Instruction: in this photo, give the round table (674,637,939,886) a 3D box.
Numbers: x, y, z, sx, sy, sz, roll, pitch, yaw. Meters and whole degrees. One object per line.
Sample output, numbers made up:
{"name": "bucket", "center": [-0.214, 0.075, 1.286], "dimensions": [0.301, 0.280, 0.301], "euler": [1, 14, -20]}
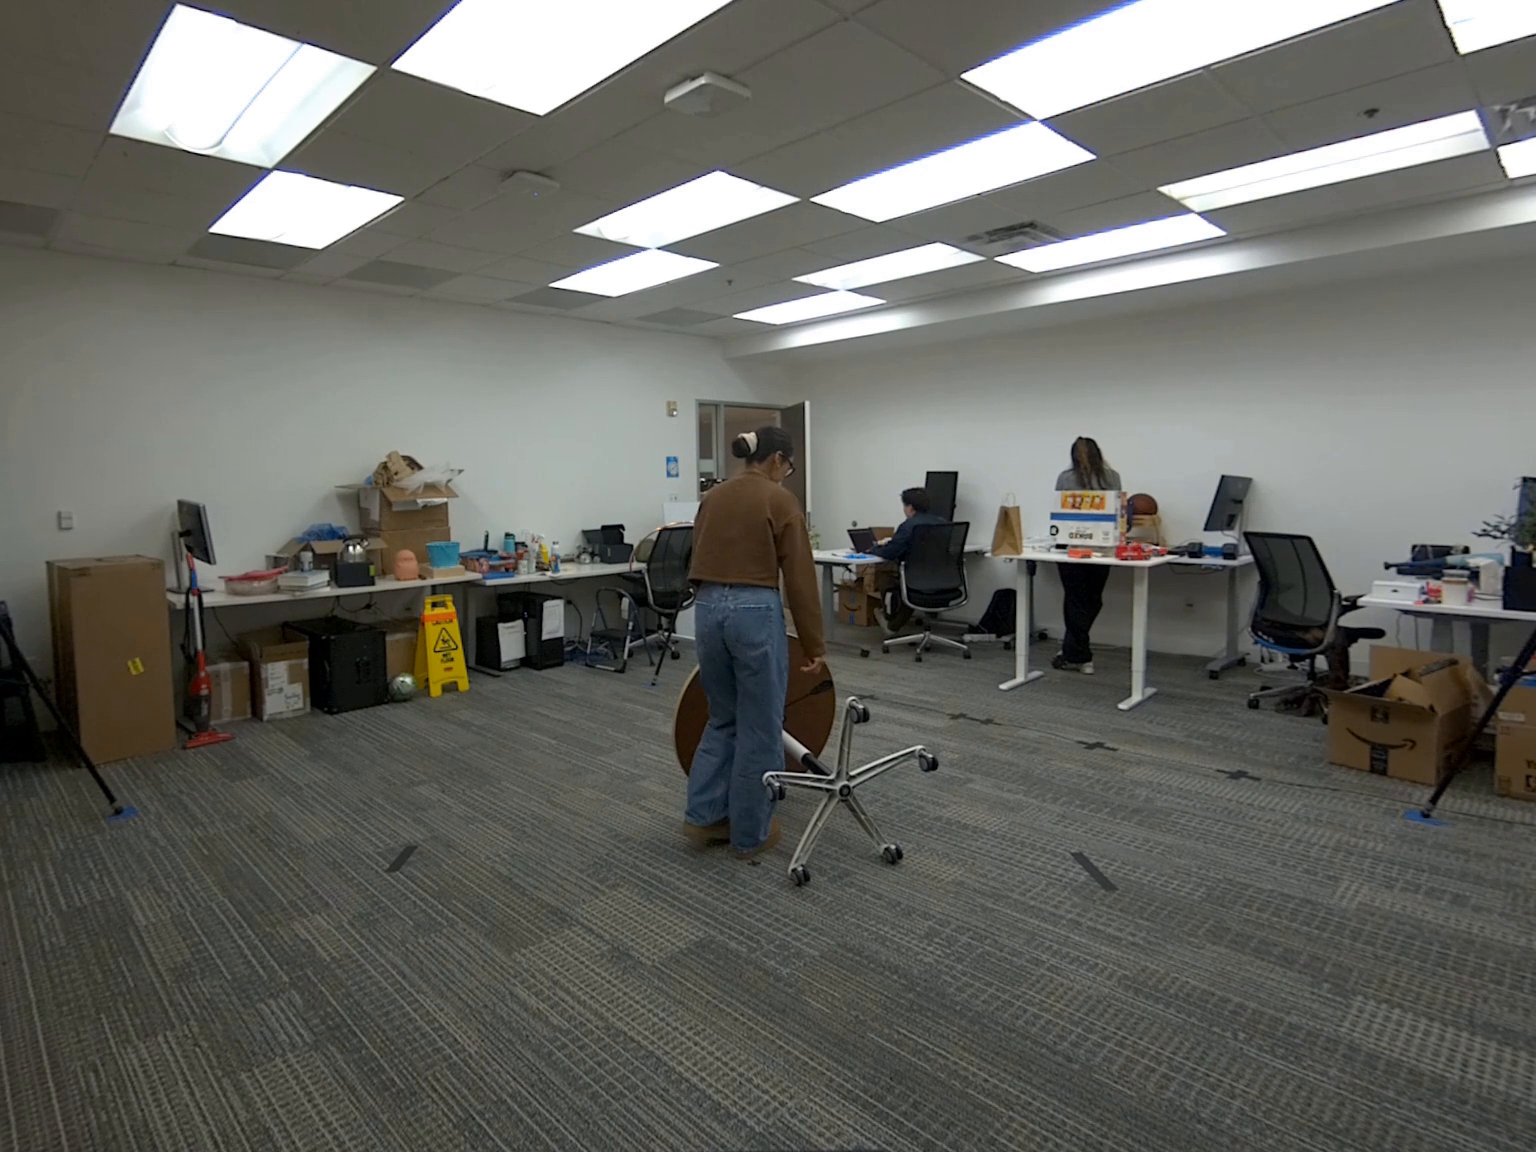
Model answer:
{"name": "round table", "center": [0.133, 0.688, 3.300], "dimensions": [0.748, 0.757, 0.819], "euler": [-3, 13, -26]}
